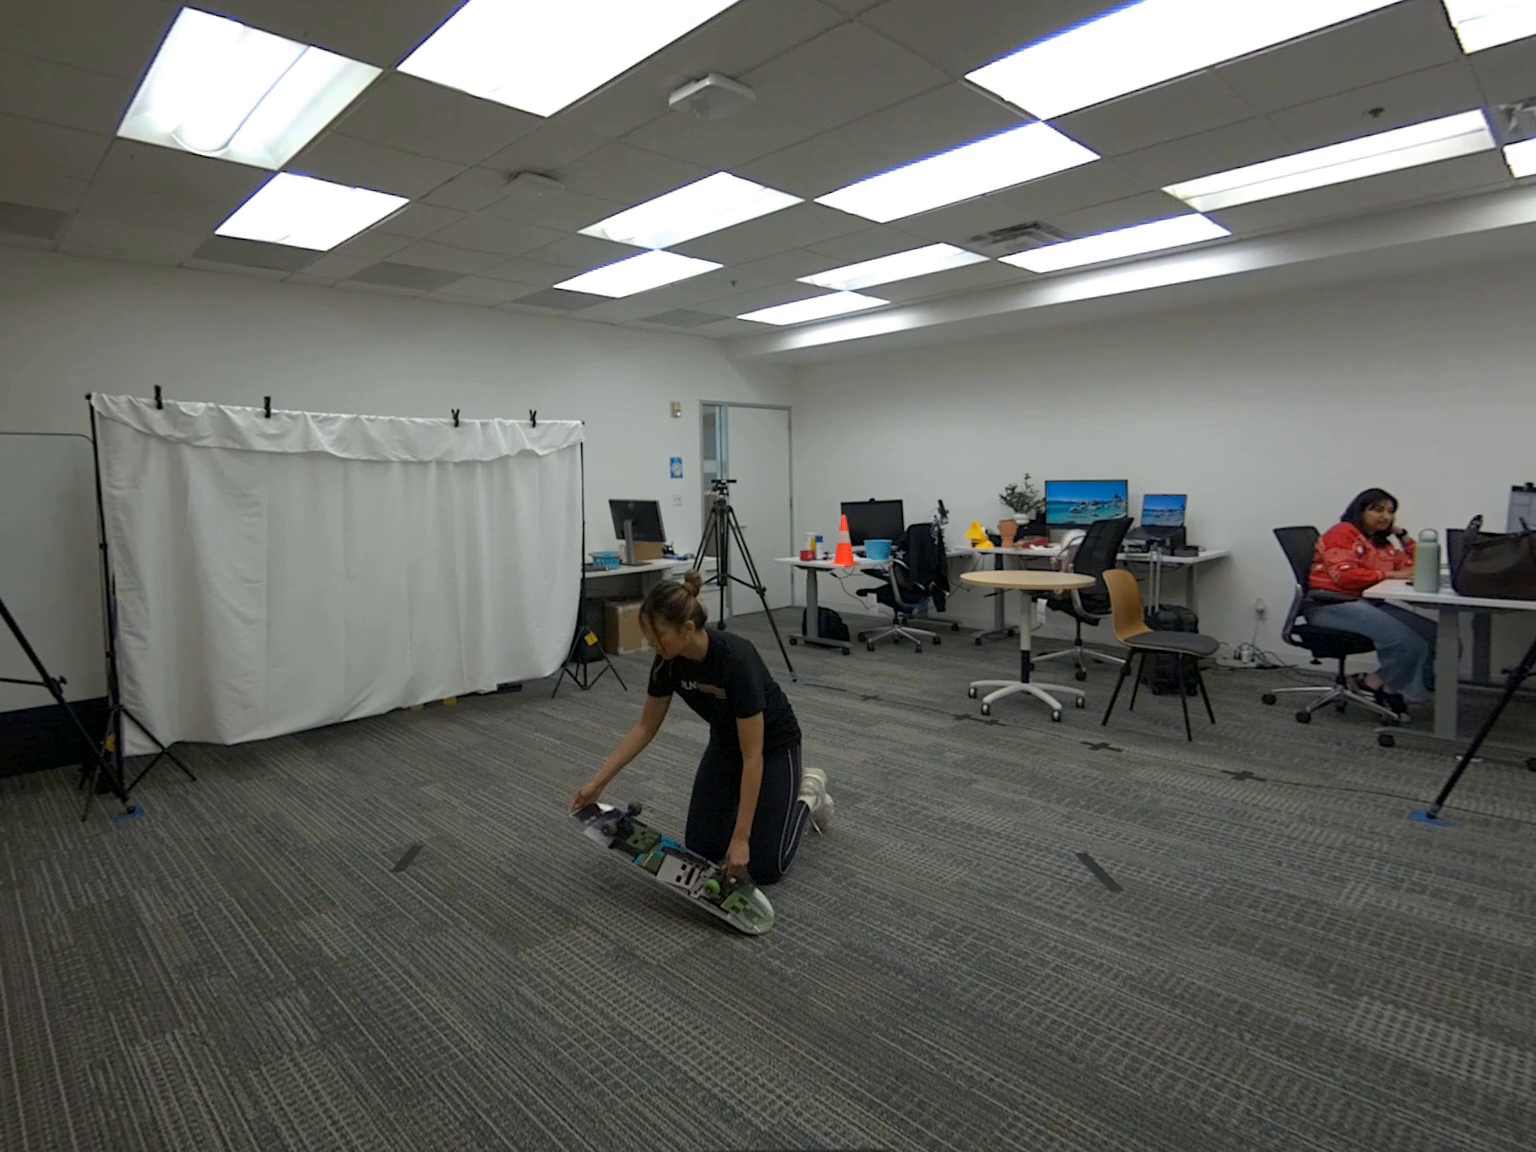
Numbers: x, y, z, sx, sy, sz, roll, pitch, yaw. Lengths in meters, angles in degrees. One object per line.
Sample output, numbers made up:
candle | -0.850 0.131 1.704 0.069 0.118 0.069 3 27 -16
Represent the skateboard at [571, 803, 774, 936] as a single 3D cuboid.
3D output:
skateboard | -0.316 0.918 2.800 0.808 0.109 0.190 21 22 25
